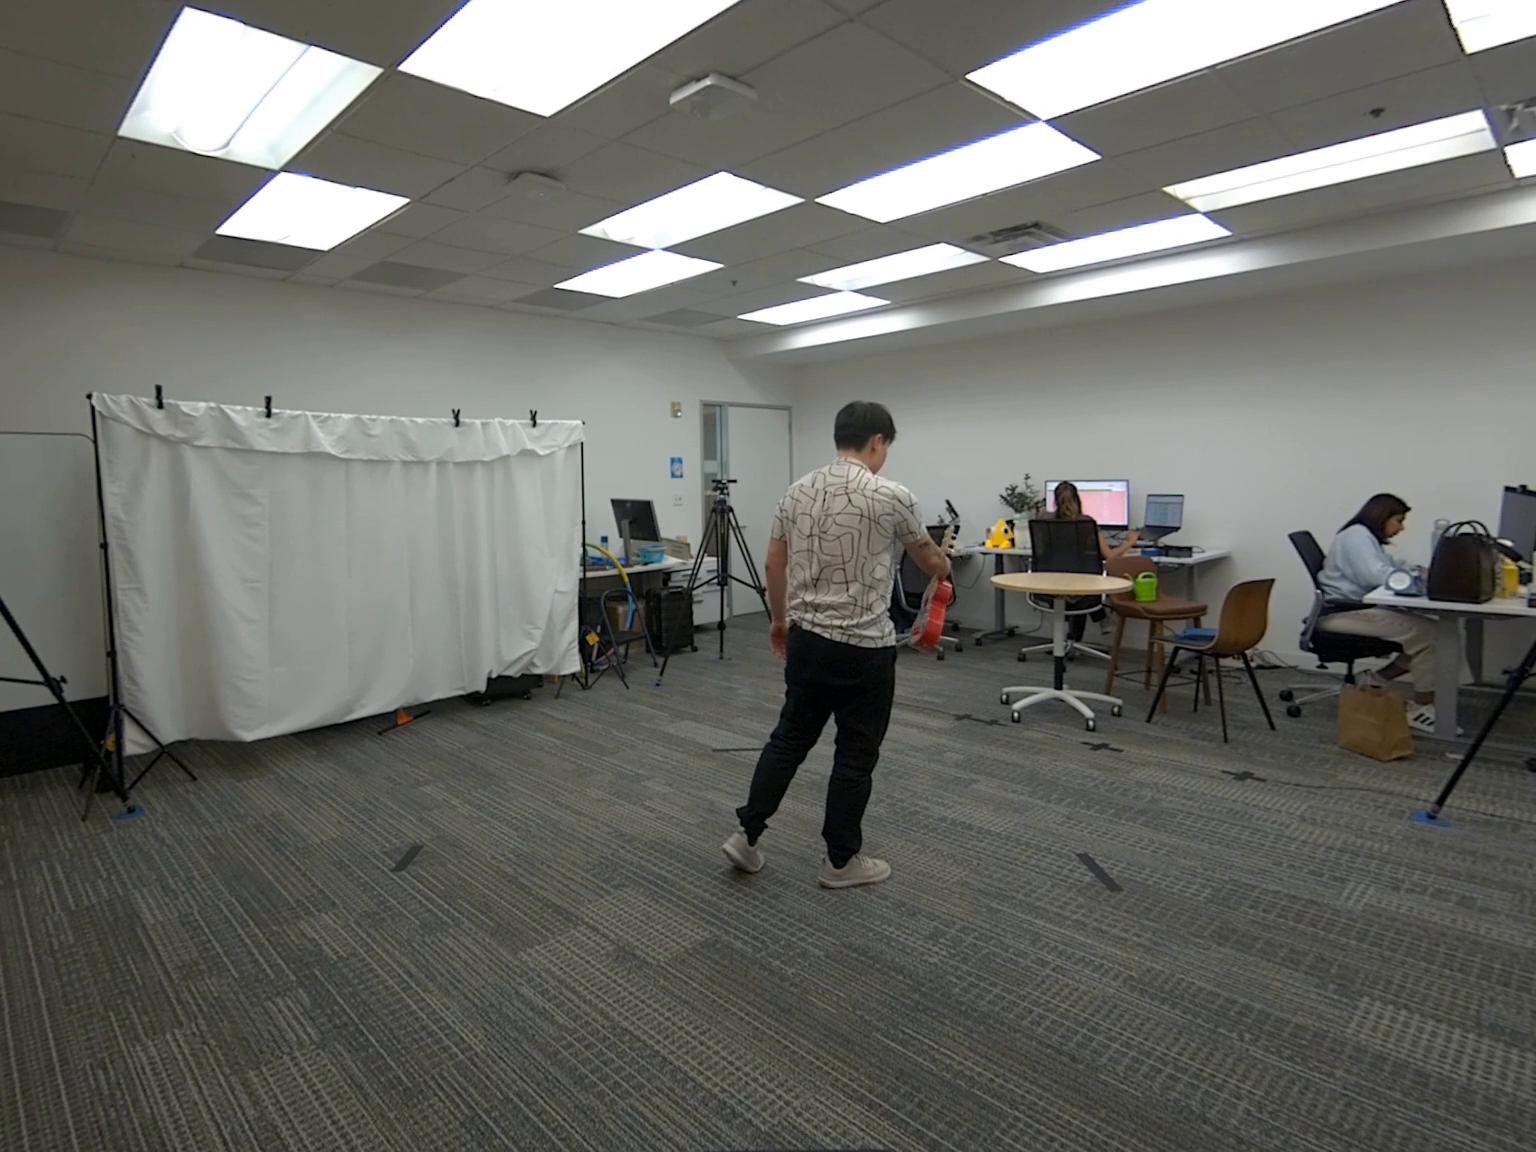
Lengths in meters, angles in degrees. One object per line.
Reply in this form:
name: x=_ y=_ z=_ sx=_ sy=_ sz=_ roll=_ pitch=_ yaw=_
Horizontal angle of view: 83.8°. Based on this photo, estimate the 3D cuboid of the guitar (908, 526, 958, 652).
guitar: x=0.647 y=0.042 z=3.182 sx=0.071 sy=0.500 sz=0.192 roll=21 pitch=-9 yaw=-2
